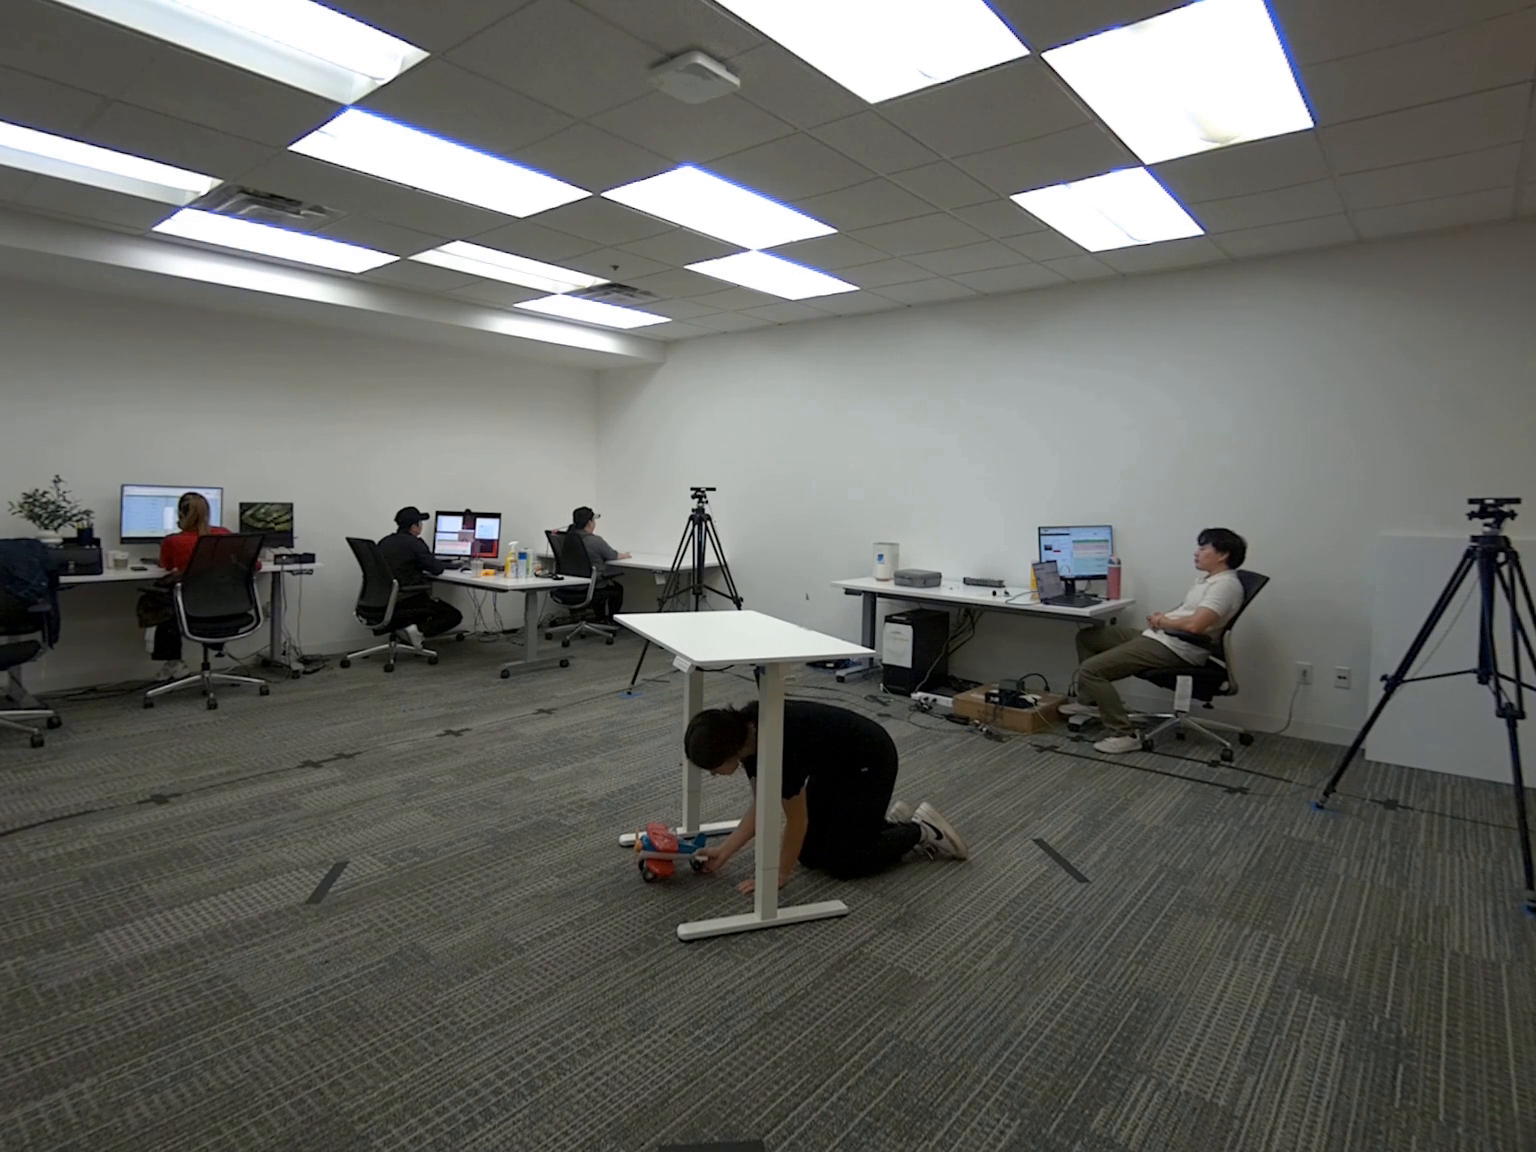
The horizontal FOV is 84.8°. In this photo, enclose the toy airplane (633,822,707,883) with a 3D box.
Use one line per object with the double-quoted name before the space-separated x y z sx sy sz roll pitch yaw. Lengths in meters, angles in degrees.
"toy airplane" -0.367 0.989 3.079 0.252 0.156 0.259 -8 8 -43
